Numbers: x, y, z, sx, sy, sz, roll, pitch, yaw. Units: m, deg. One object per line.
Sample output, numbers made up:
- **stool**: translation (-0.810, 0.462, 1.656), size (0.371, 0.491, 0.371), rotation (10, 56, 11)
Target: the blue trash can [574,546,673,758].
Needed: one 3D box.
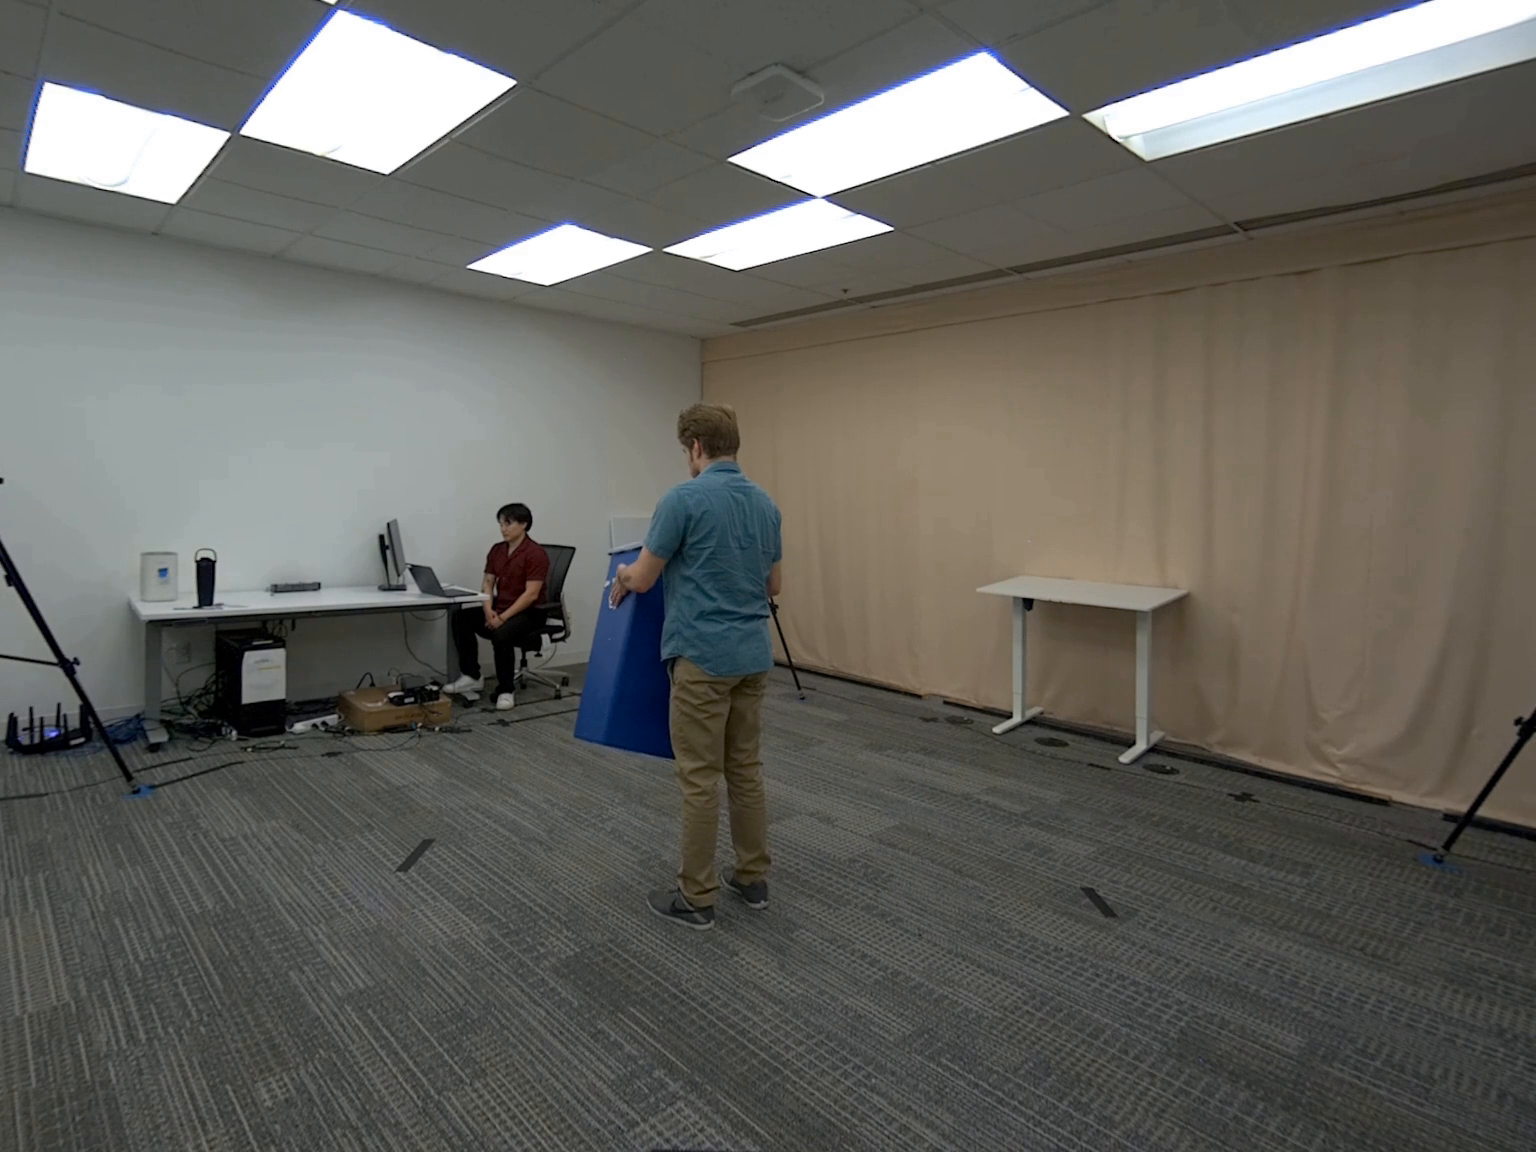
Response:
- **blue trash can**: translation (-0.451, 0.286, 3.099), size (0.365, 0.718, 0.385), rotation (18, -14, -30)
